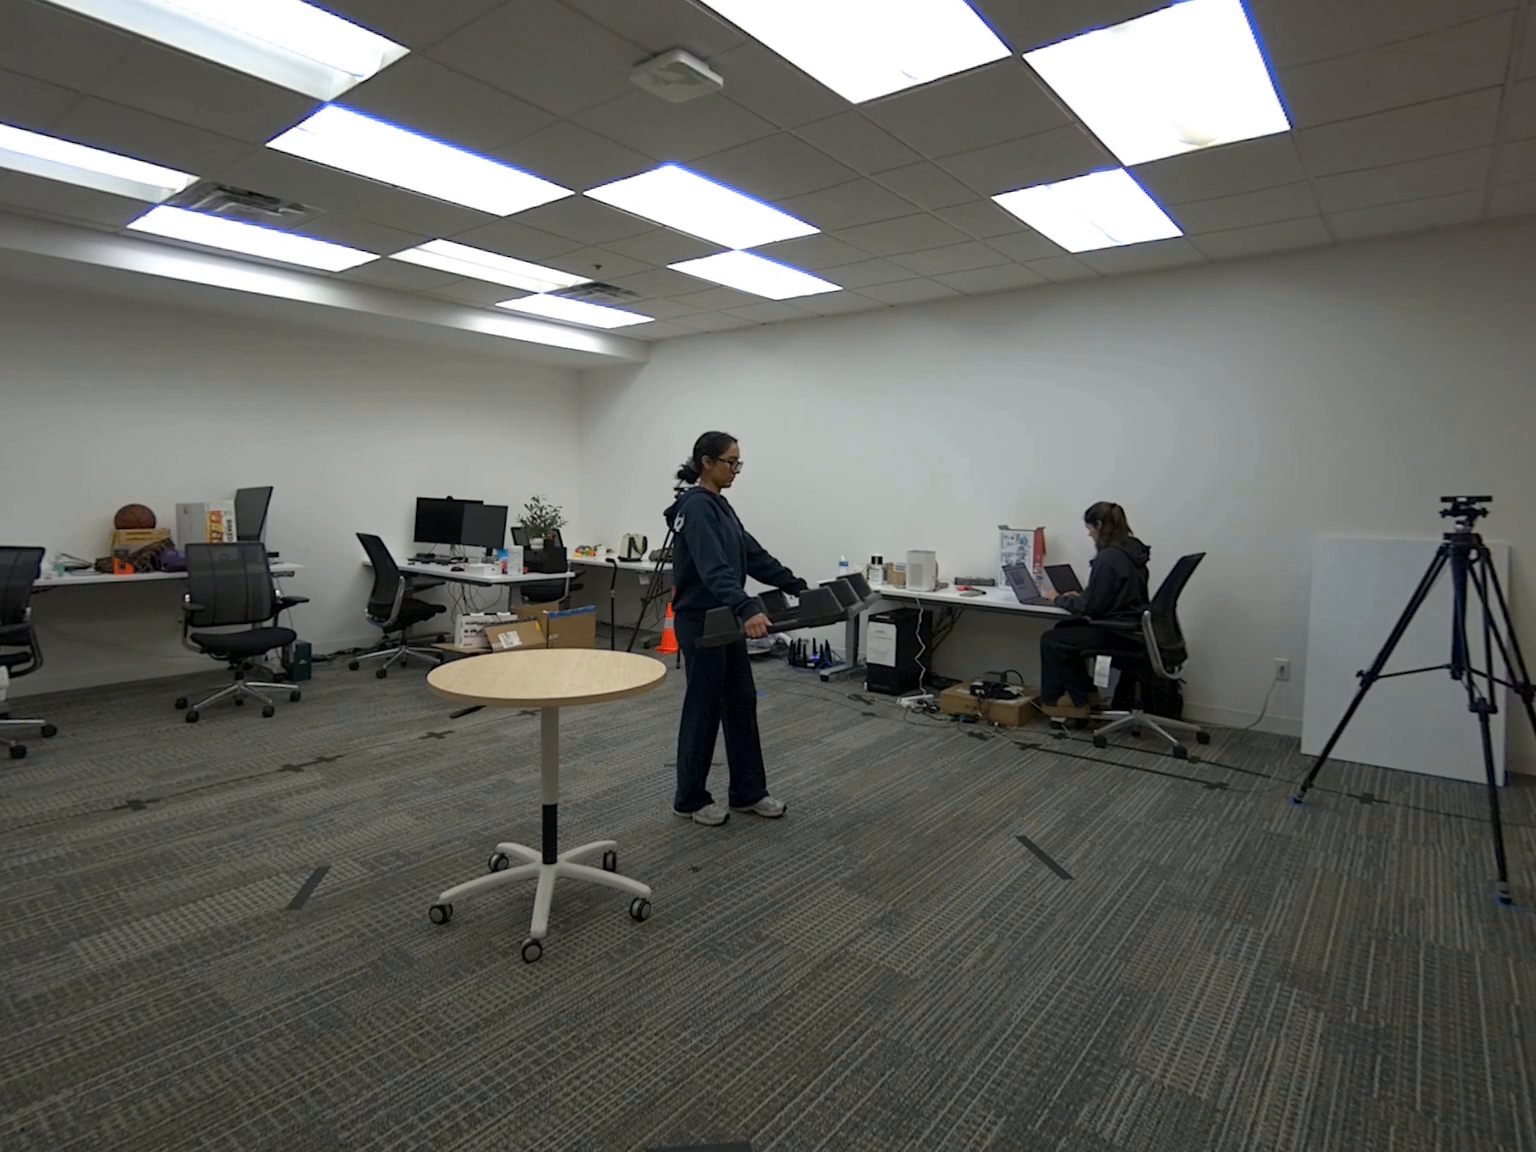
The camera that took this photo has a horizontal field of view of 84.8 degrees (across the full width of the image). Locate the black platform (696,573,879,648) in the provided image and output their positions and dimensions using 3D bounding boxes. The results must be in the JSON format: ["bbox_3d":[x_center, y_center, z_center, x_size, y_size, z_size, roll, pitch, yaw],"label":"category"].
[{"bbox_3d":[0.096,0.119,3.457,0.614,0.143,0.793,-13,2,19],"label":"black platform"}]
